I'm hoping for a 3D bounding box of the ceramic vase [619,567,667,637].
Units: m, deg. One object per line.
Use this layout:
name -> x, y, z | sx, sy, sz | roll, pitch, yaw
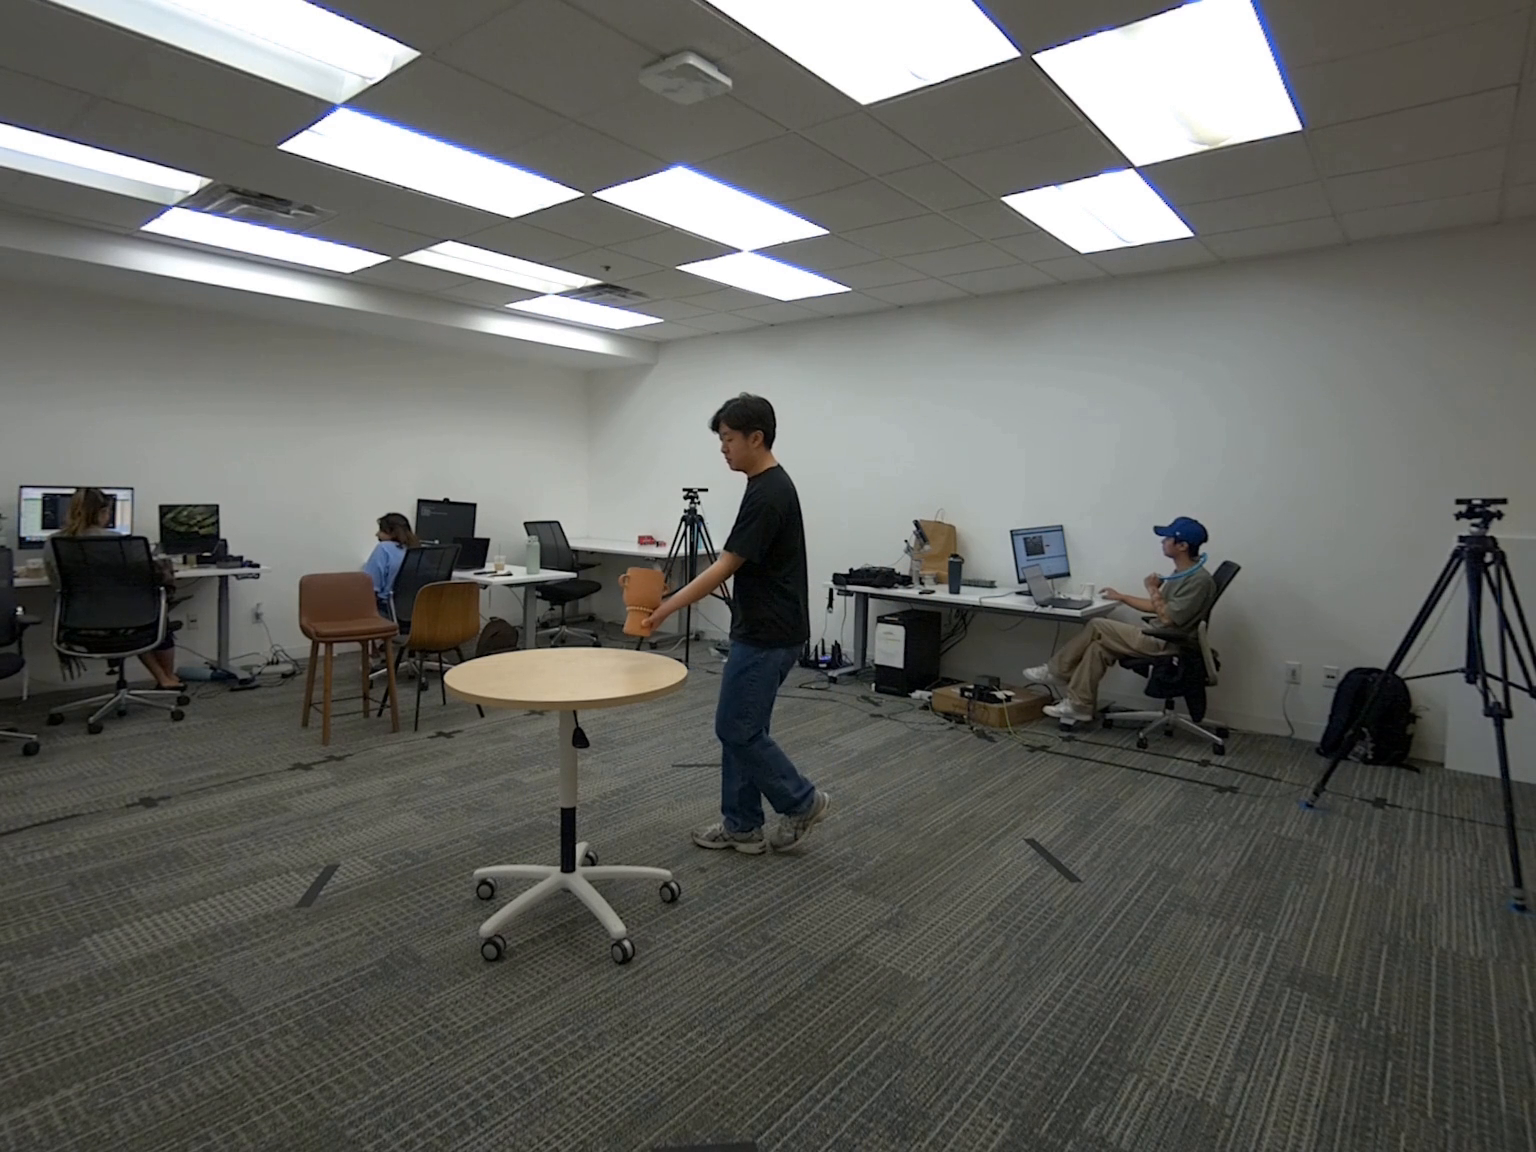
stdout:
ceramic vase -> -0.452, 0.088, 2.979 | 0.160, 0.222, 0.132 | 6, -10, 7
